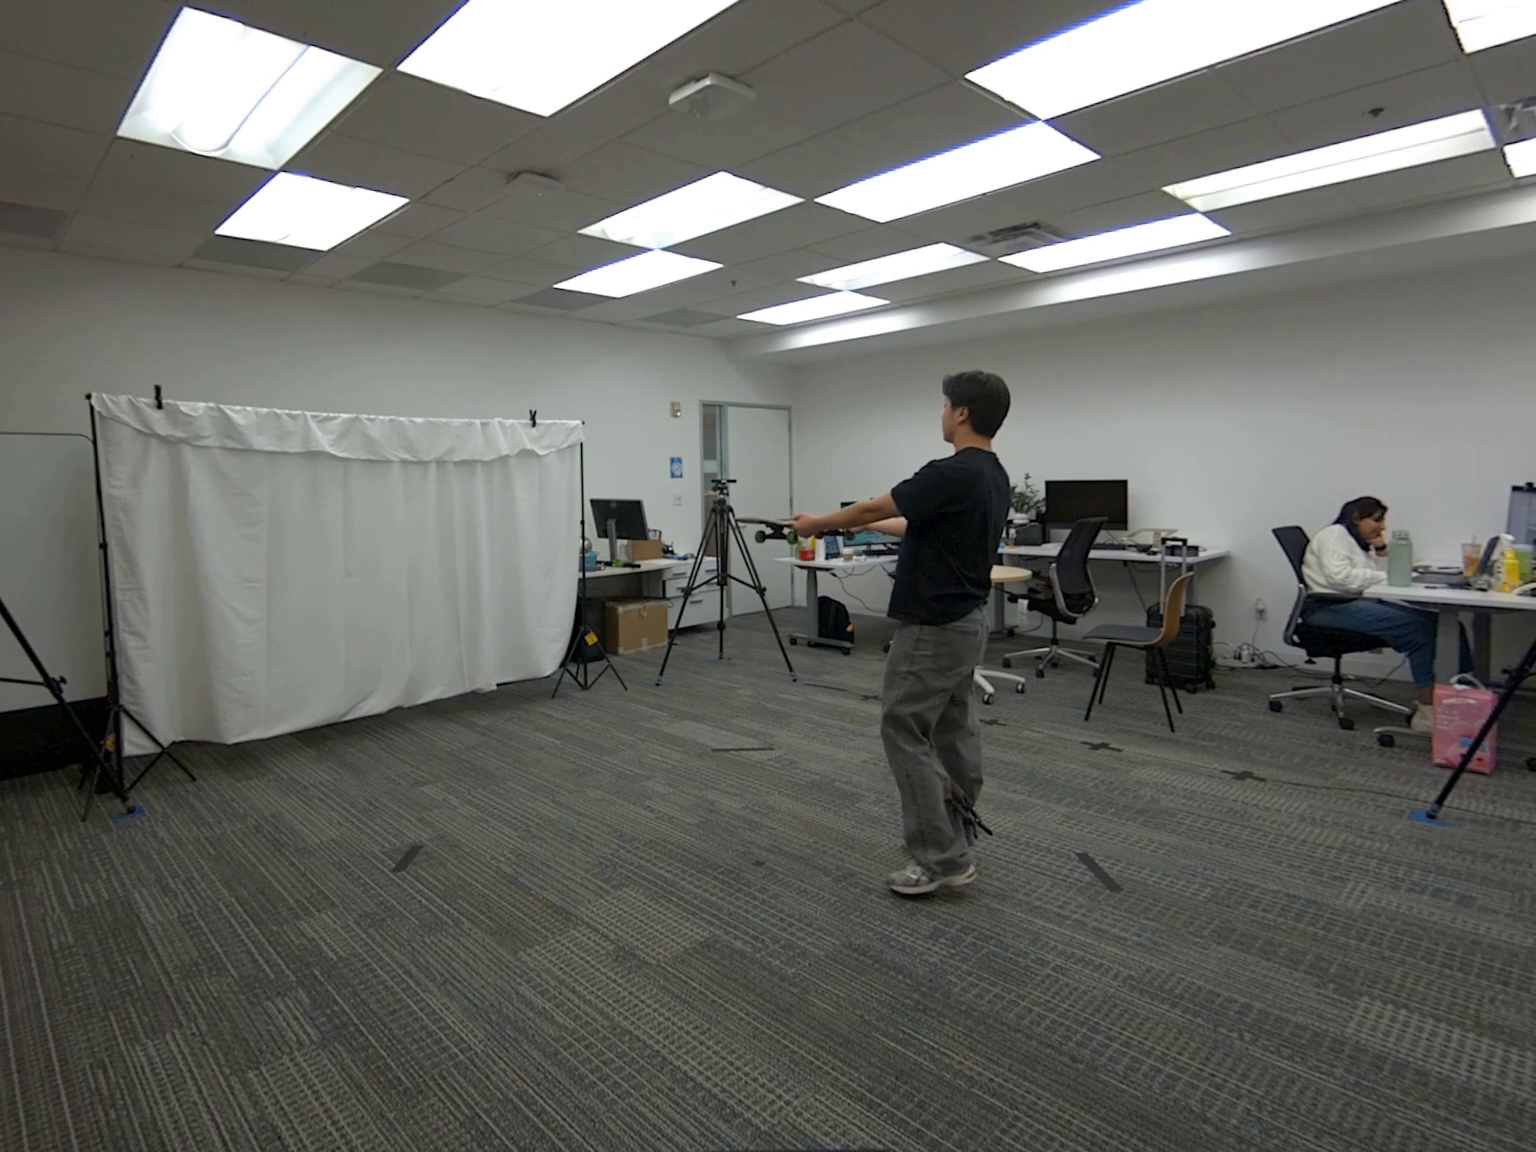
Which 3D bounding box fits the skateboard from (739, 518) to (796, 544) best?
[{"bbox_3d":[0.163,-0.190,3.411,0.199,0.110,0.765,4,7,40],"label":"skateboard"}]
